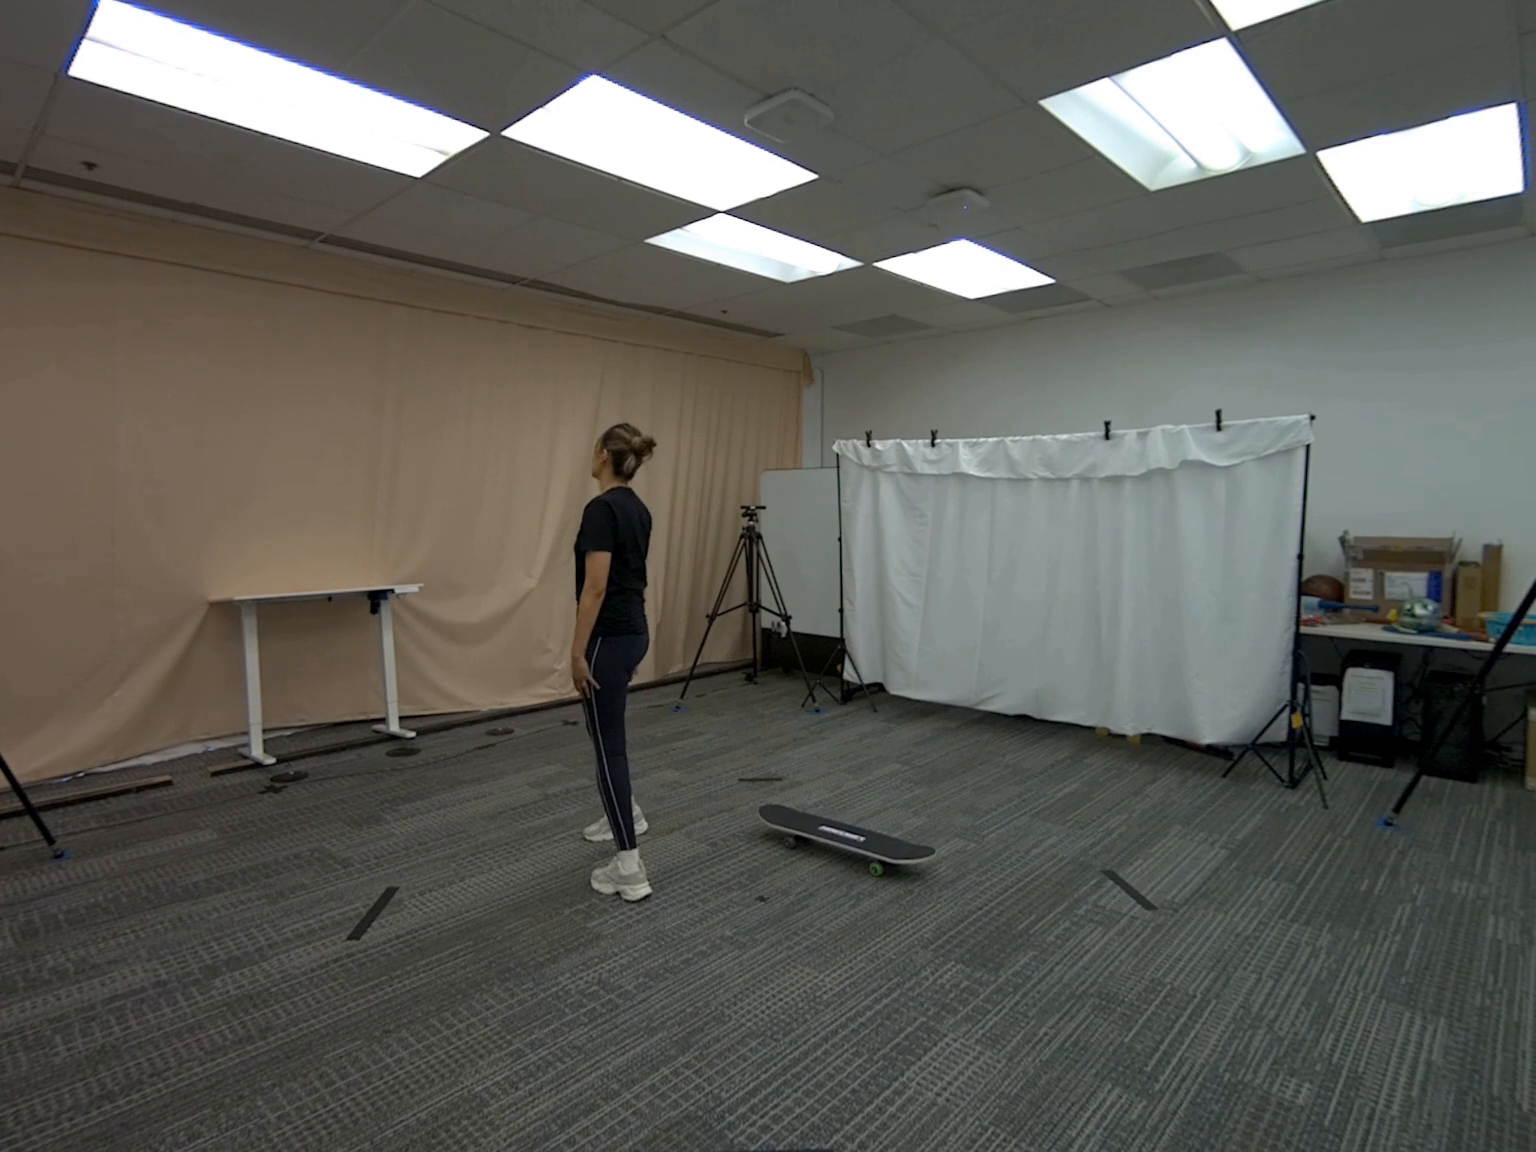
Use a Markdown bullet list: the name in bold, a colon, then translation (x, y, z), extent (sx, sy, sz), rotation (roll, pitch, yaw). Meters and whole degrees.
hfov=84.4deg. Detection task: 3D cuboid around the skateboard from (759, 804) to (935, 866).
- **skateboard**: translation (0.298, 1.050, 3.347), extent (0.811, 0.110, 0.188), rotation (4, 7, 38)
